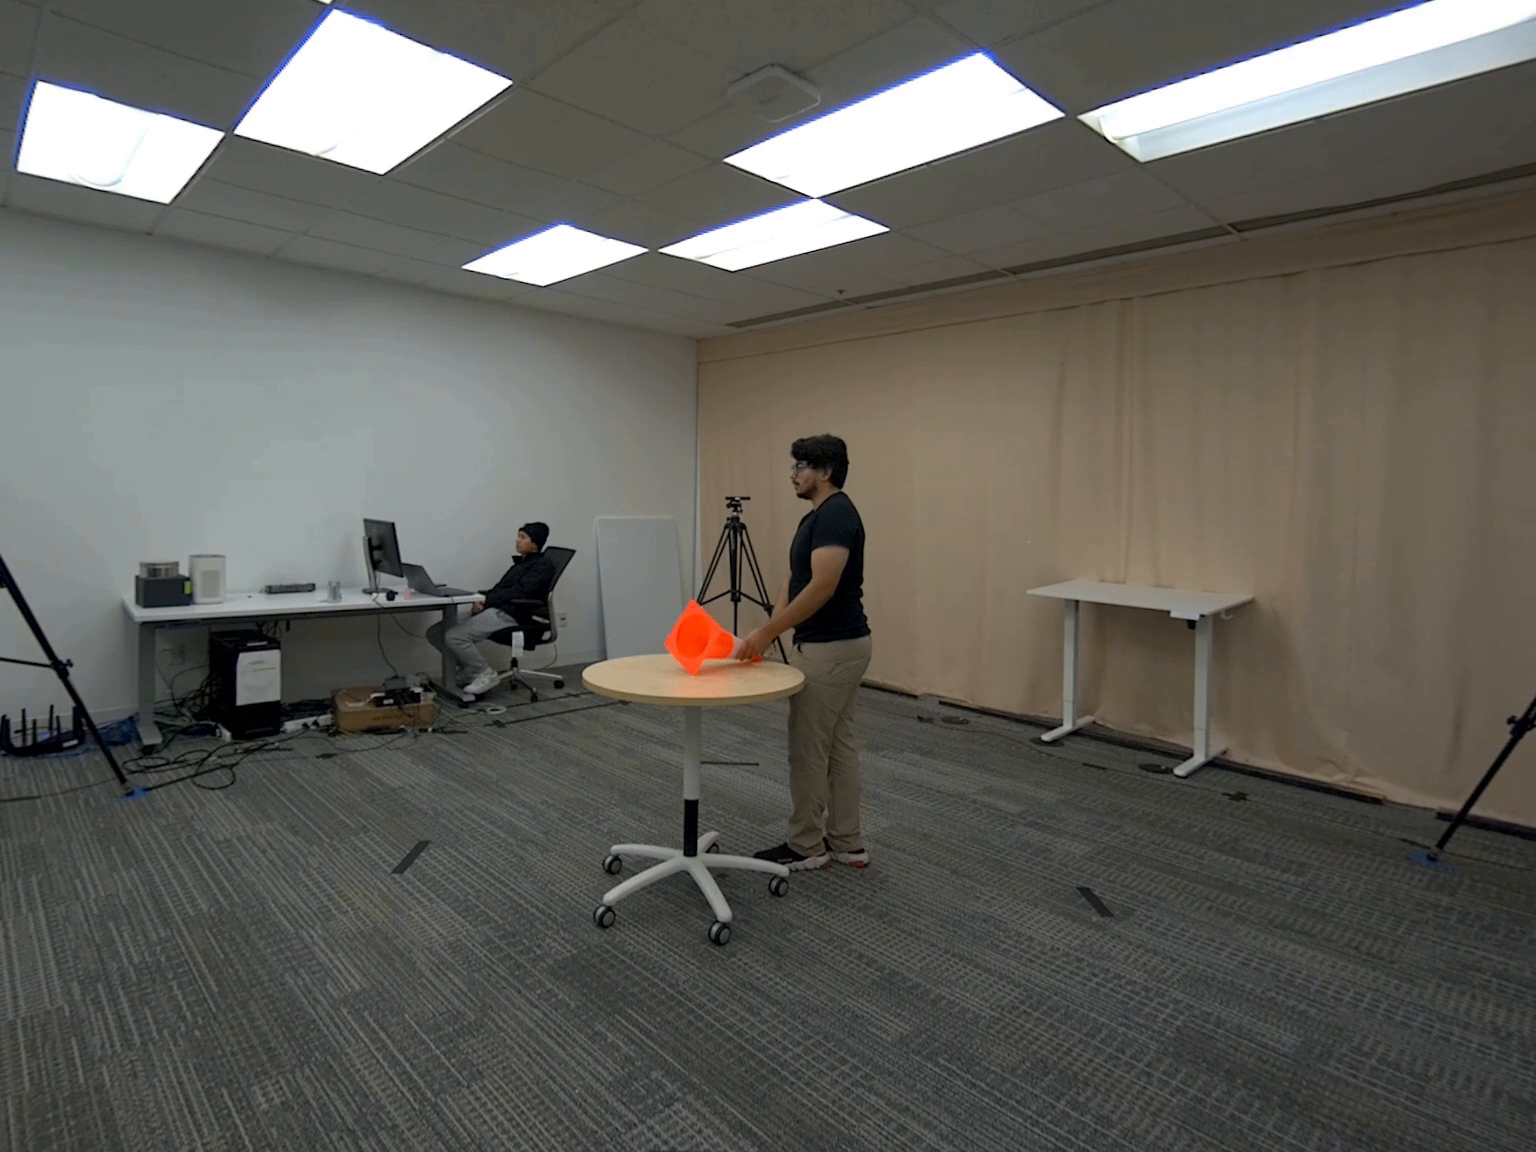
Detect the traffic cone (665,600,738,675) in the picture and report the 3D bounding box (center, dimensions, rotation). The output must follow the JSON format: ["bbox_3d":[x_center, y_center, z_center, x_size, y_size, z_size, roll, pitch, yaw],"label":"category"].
[{"bbox_3d":[-0.159,0.263,3.046,0.372,0.203,0.211,23,14,-48],"label":"traffic cone"}]
